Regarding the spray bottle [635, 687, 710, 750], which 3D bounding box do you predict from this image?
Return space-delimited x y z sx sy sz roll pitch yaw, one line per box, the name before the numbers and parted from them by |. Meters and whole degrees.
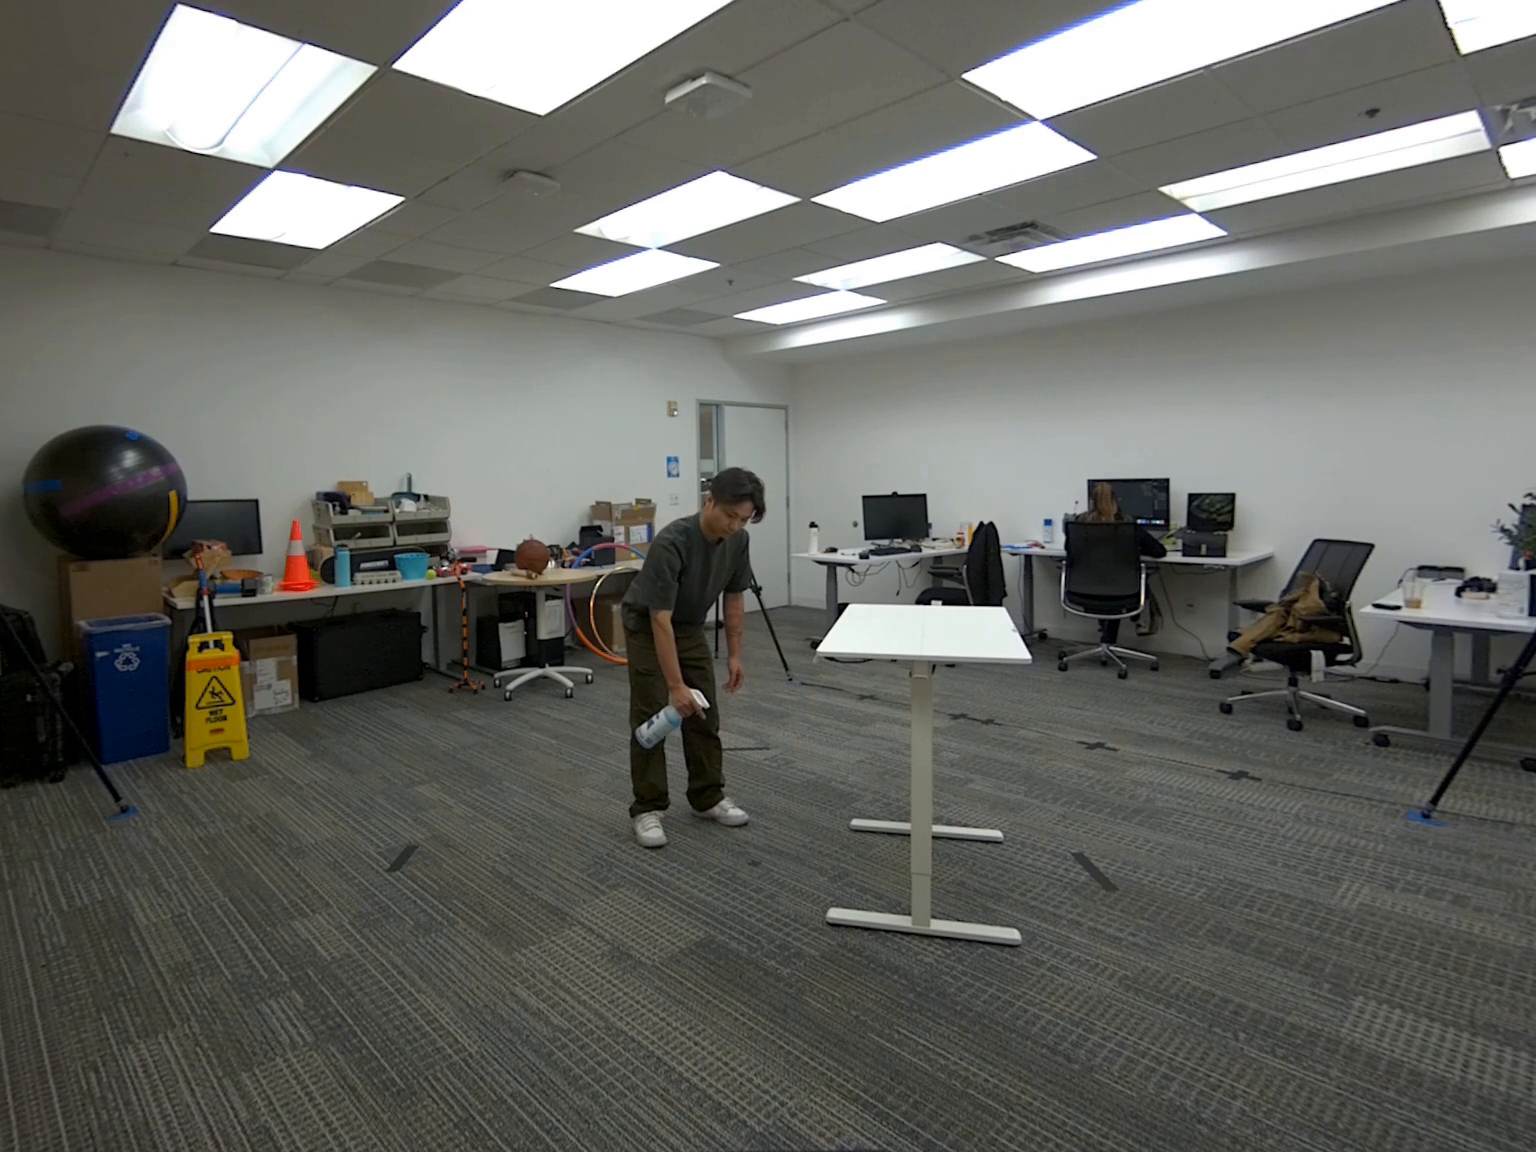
spray bottle | -0.359 0.529 3.166 0.298 0.093 0.083 -35 -40 13
